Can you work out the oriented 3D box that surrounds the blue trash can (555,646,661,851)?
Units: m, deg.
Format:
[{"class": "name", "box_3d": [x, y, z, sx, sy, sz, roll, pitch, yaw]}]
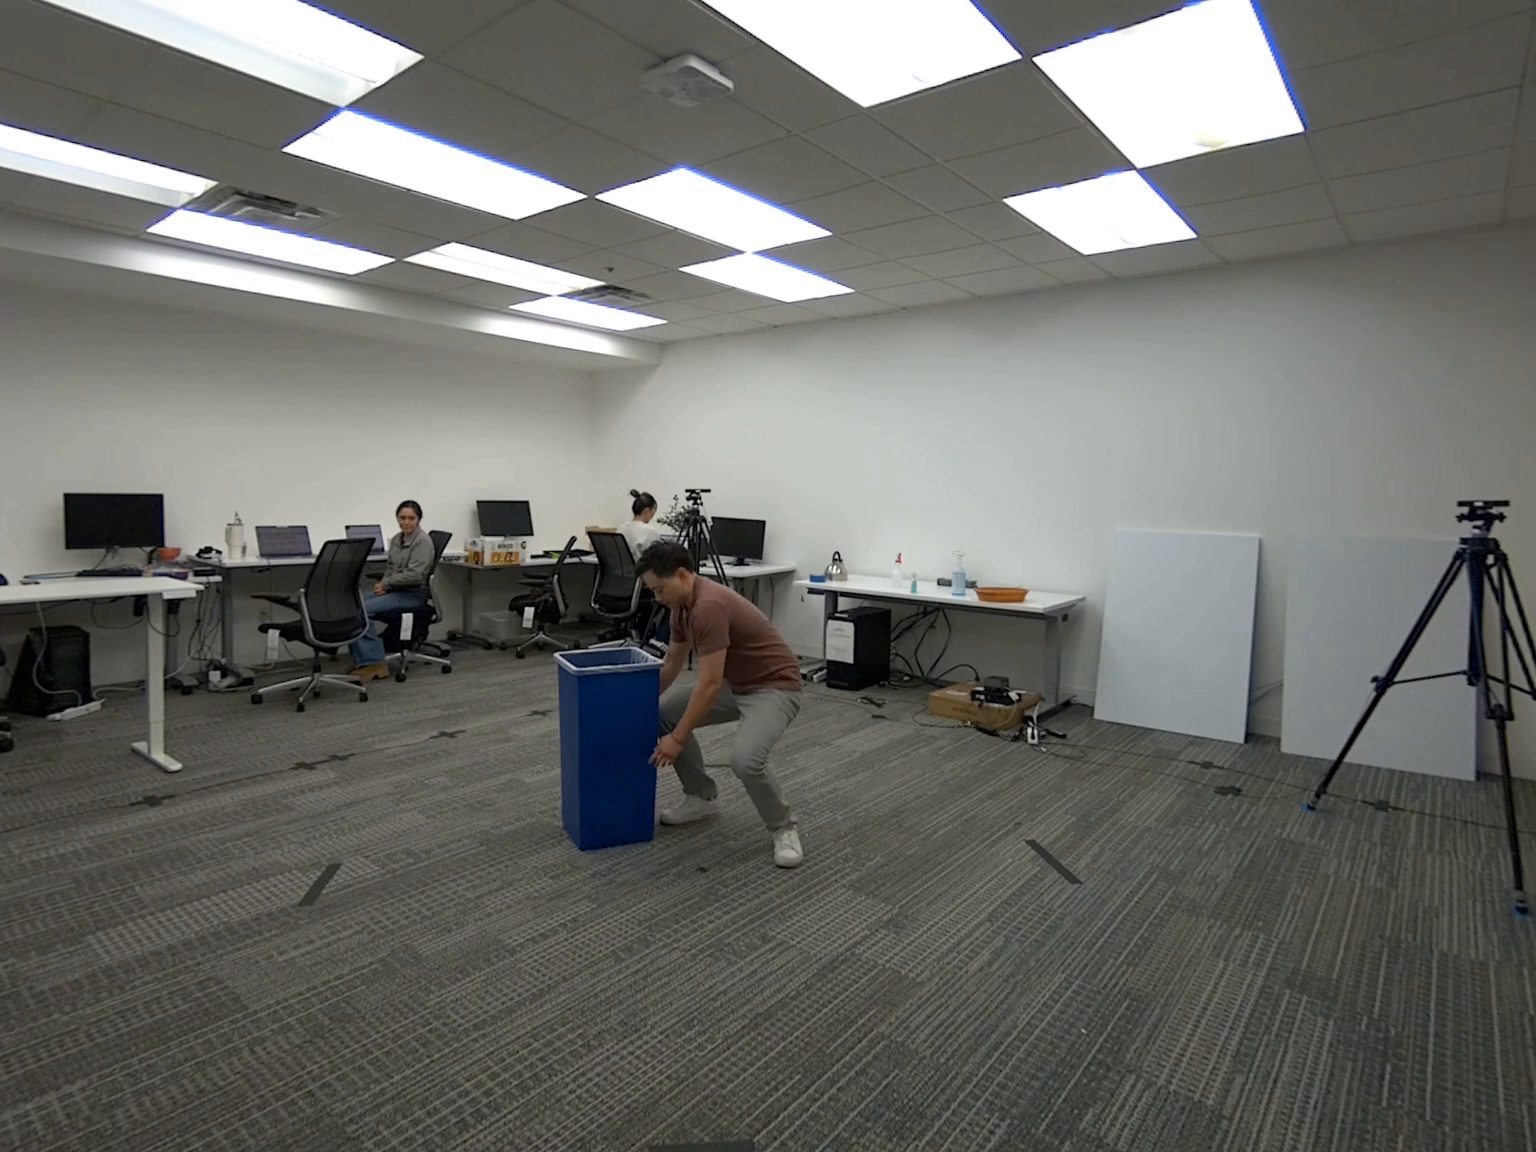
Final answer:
[{"class": "blue trash can", "box_3d": [-0.664, 0.677, 3.426, 0.365, 0.712, 0.389, 0, 3, -27]}]
